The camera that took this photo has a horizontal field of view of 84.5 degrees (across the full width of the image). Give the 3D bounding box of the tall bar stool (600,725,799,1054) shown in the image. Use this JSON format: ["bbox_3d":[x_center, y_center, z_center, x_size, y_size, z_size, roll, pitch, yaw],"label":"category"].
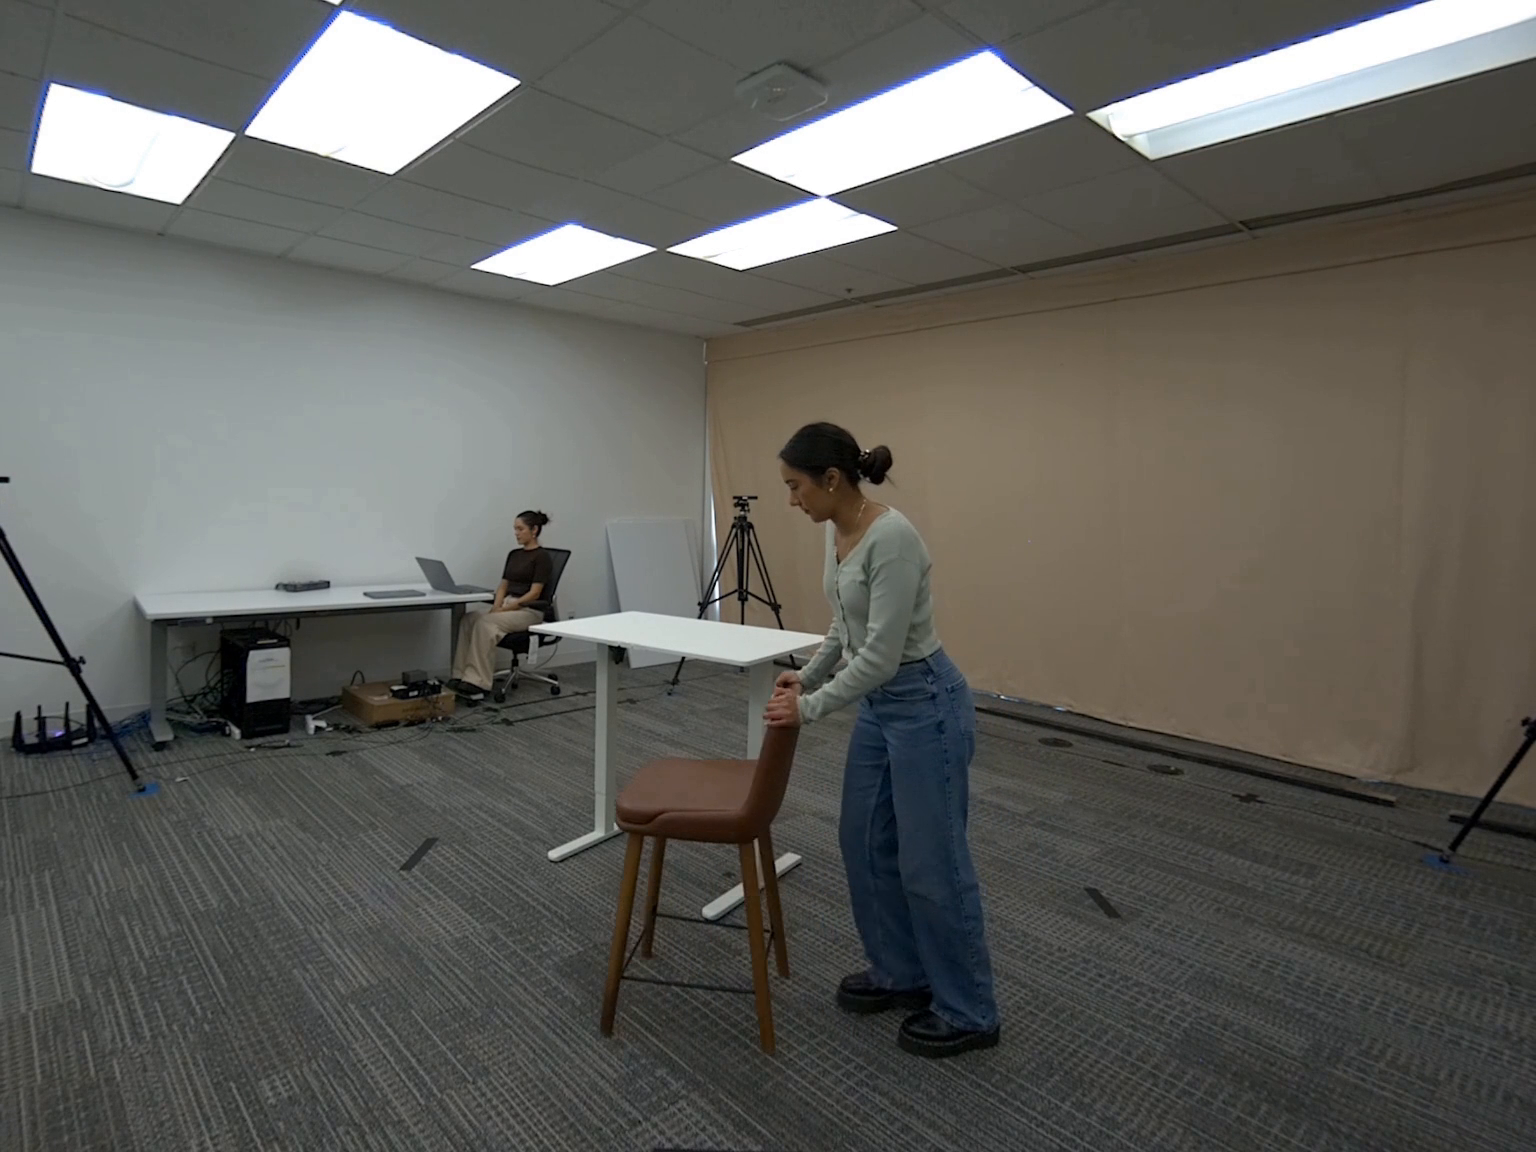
[{"bbox_3d":[-0.164,0.741,2.296,0.471,0.887,0.454,4,4,9],"label":"tall bar stool"}]
